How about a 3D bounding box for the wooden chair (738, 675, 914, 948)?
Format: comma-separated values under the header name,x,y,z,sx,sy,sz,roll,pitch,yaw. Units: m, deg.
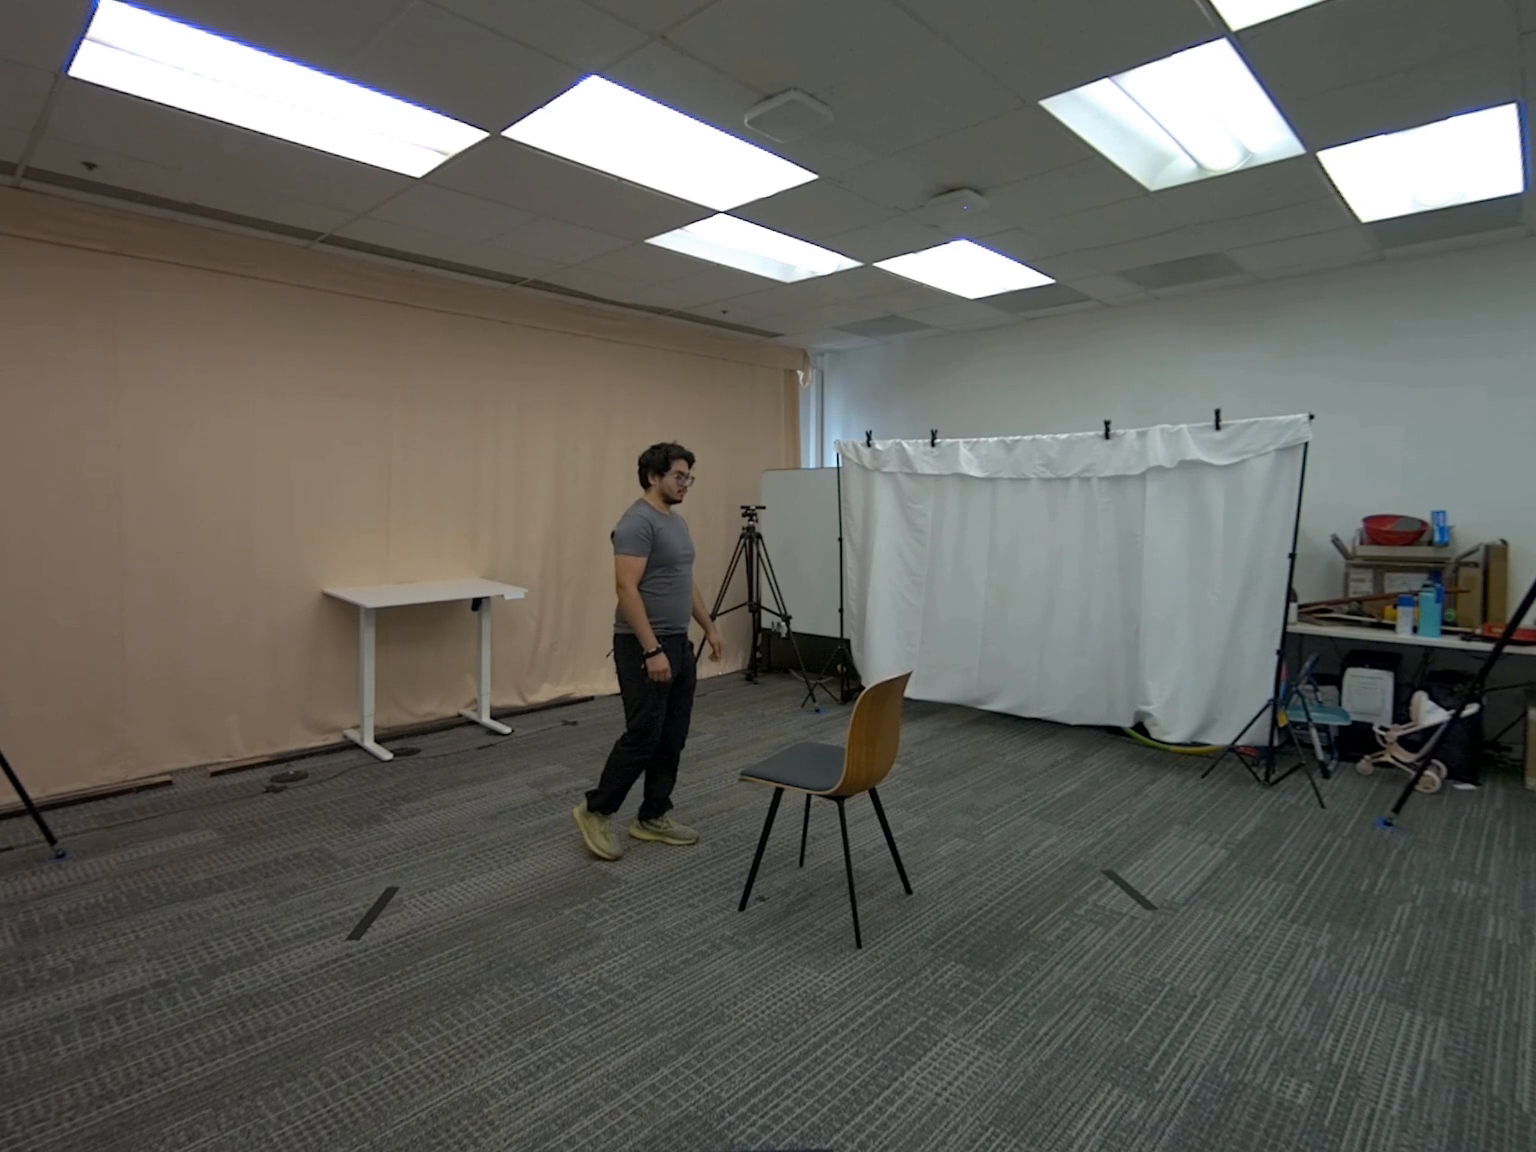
name,x,y,z,sx,sy,sz,roll,pitch,yaw
wooden chair,0.201,0.719,2.926,0.539,0.874,0.465,7,7,32
